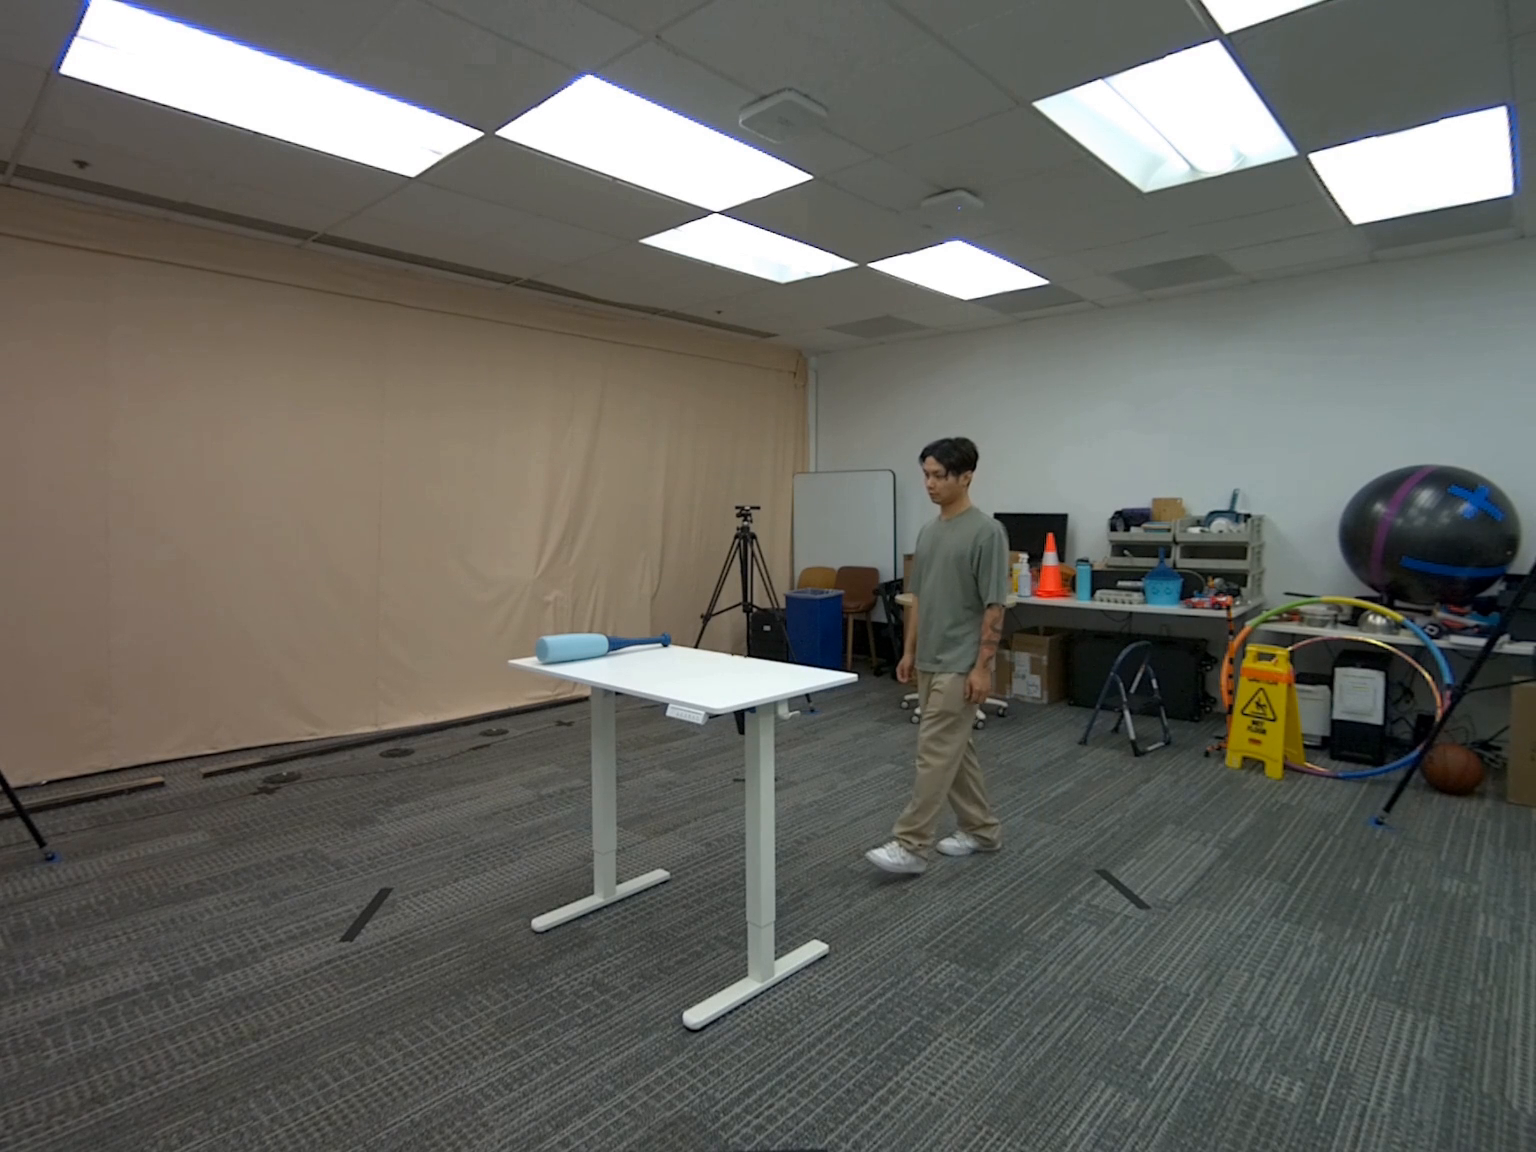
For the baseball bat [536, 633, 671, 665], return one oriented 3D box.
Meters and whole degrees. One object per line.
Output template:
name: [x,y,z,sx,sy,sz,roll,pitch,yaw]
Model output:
baseball bat: [-0.560,0.239,2.908,0.092,0.089,0.526,4,3,44]
